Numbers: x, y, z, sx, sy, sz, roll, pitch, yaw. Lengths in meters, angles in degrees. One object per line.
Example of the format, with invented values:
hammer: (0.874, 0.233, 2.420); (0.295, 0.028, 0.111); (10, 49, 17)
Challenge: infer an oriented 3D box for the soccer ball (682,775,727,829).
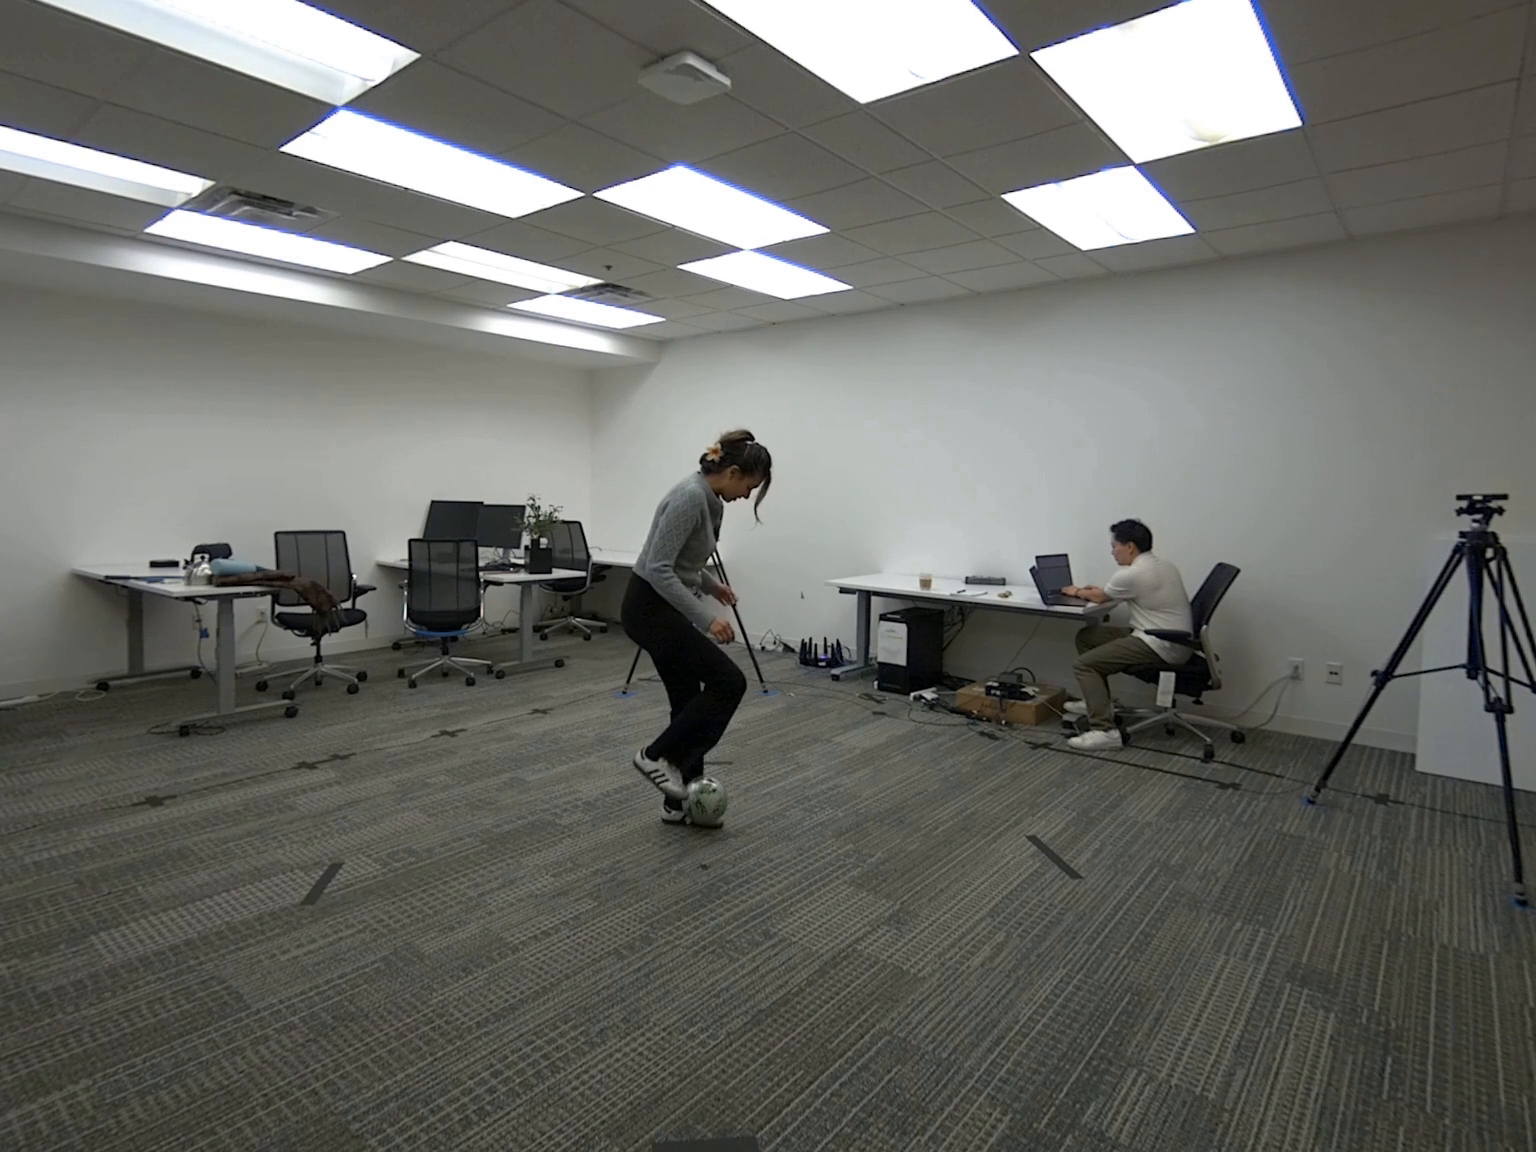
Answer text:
soccer ball: (-0.251, 0.915, 3.412); (0.187, 0.187, 0.188); (1, 4, -2)
